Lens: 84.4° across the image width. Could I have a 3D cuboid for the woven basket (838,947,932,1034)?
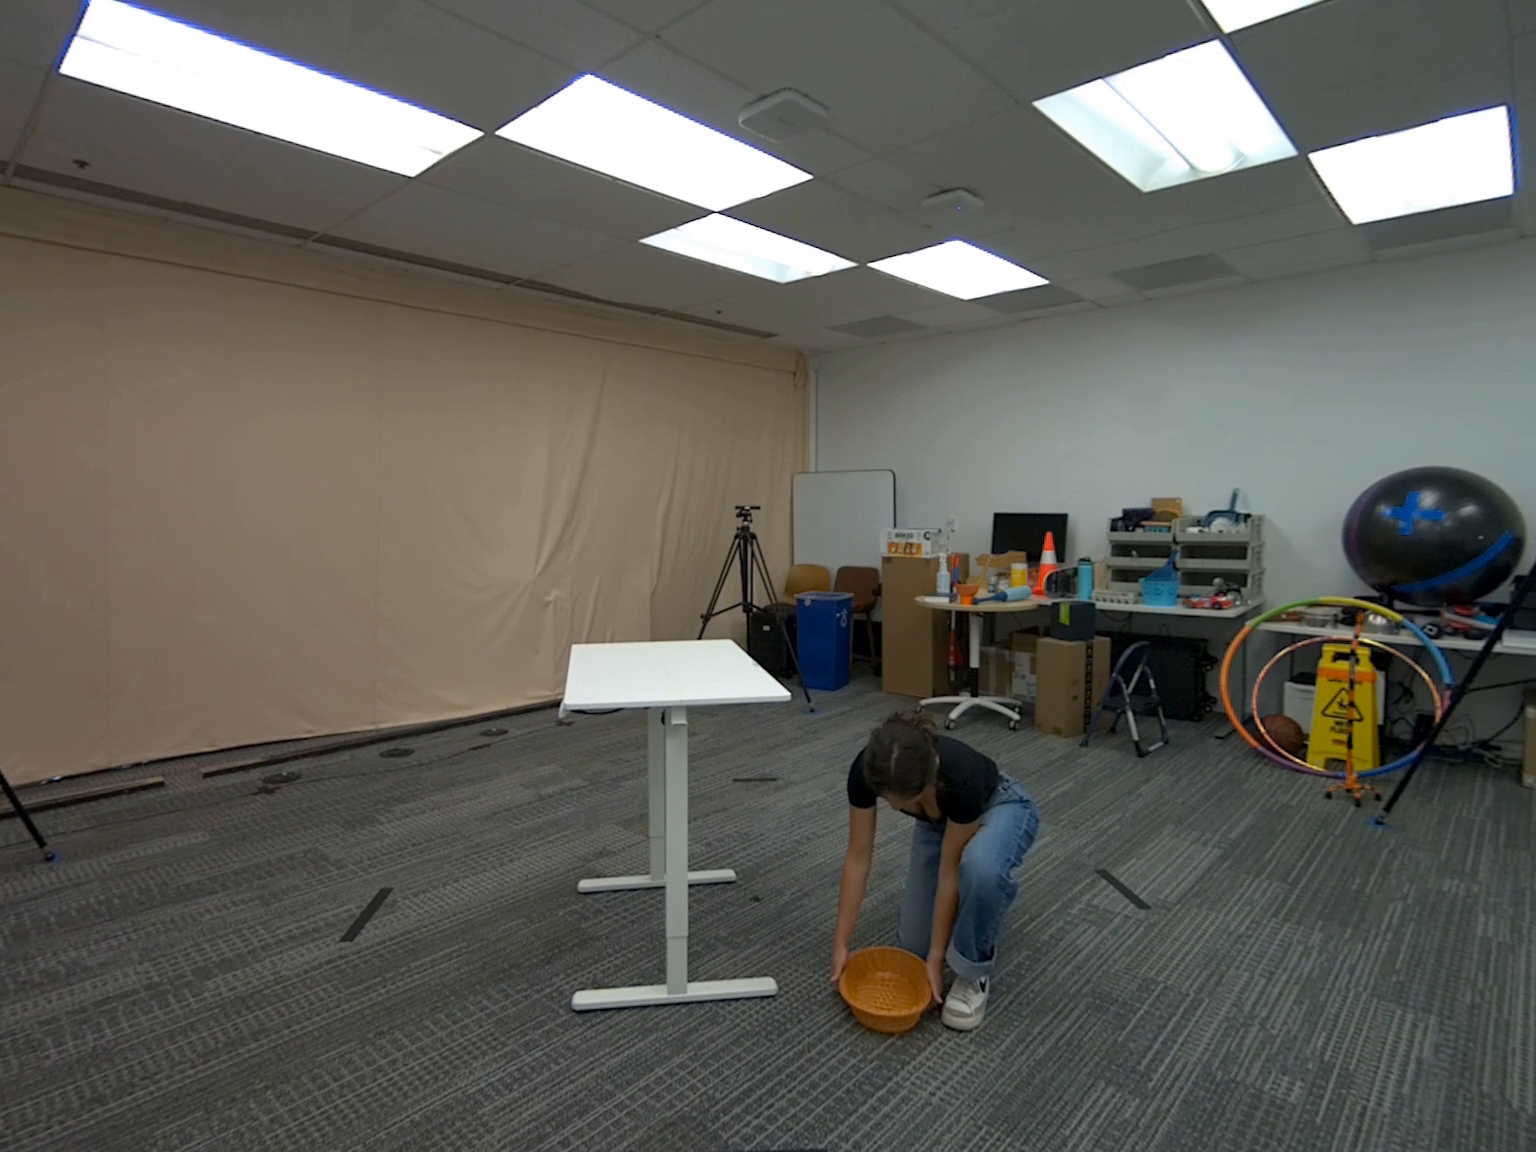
[{"bbox_3d":[0.329,1.157,2.353,0.256,0.073,0.345,1,4,14],"label":"woven basket"}]
